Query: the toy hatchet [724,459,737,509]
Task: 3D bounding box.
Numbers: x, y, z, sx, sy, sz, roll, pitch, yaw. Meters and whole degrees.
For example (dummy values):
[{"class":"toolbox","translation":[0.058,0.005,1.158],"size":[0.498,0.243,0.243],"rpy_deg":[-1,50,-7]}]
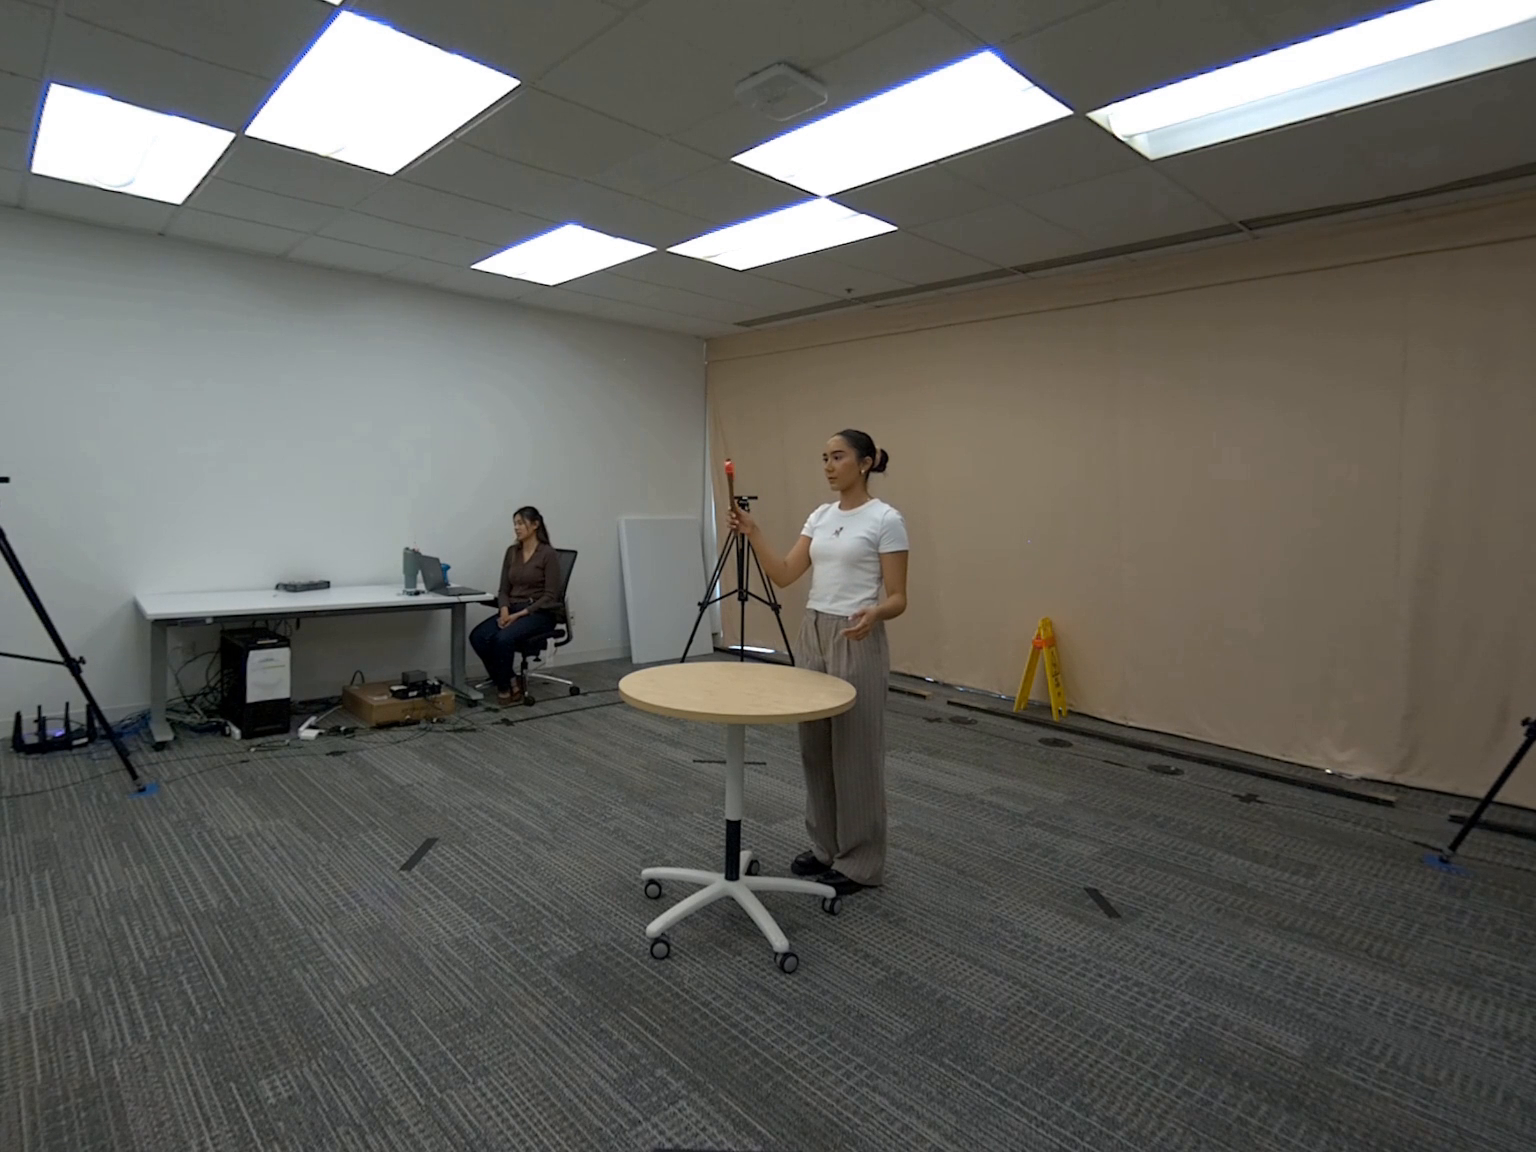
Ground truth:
[{"class":"toy hatchet","translation":[-0.124,-0.286,2.966],"size":[0.029,0.266,0.132],"rpy_deg":[-7,17,1]}]
